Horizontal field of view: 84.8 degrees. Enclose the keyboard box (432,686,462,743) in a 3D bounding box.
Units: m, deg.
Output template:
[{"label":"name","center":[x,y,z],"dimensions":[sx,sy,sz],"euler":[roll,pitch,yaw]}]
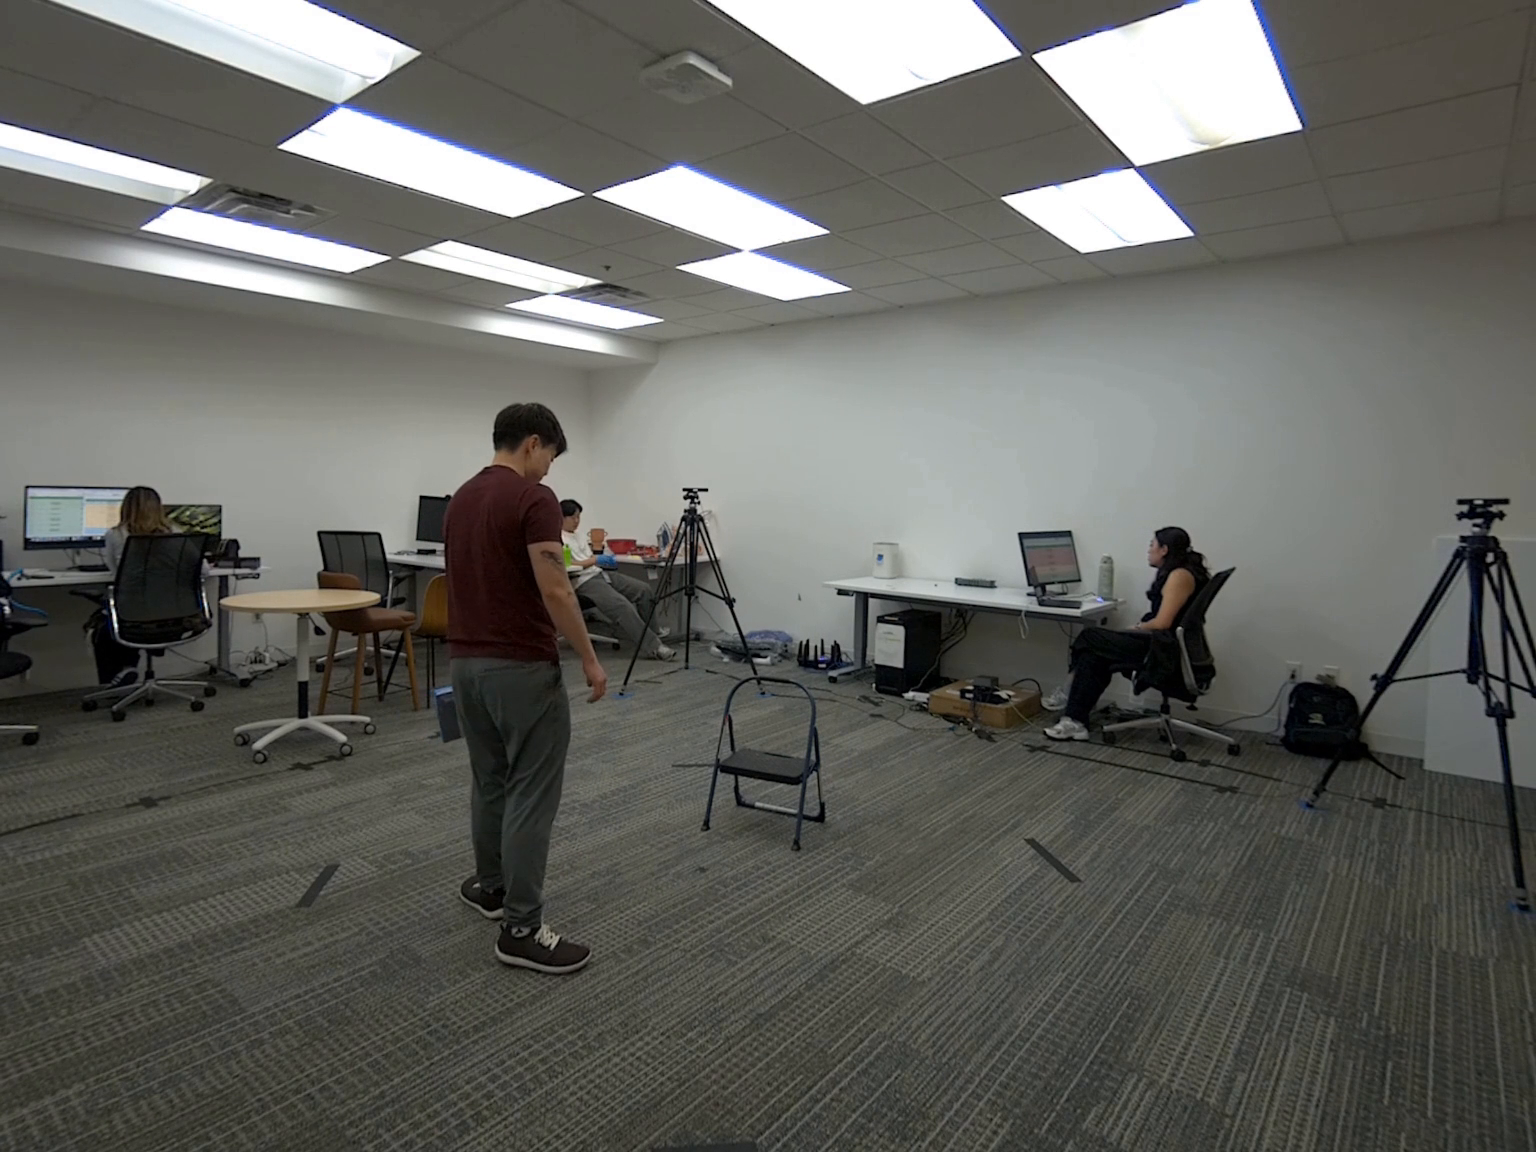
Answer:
[{"label":"keyboard box","center":[-0.932,0.430,2.936],"dimensions":[0.428,0.174,0.061],"euler":[-13,14,-27]}]
